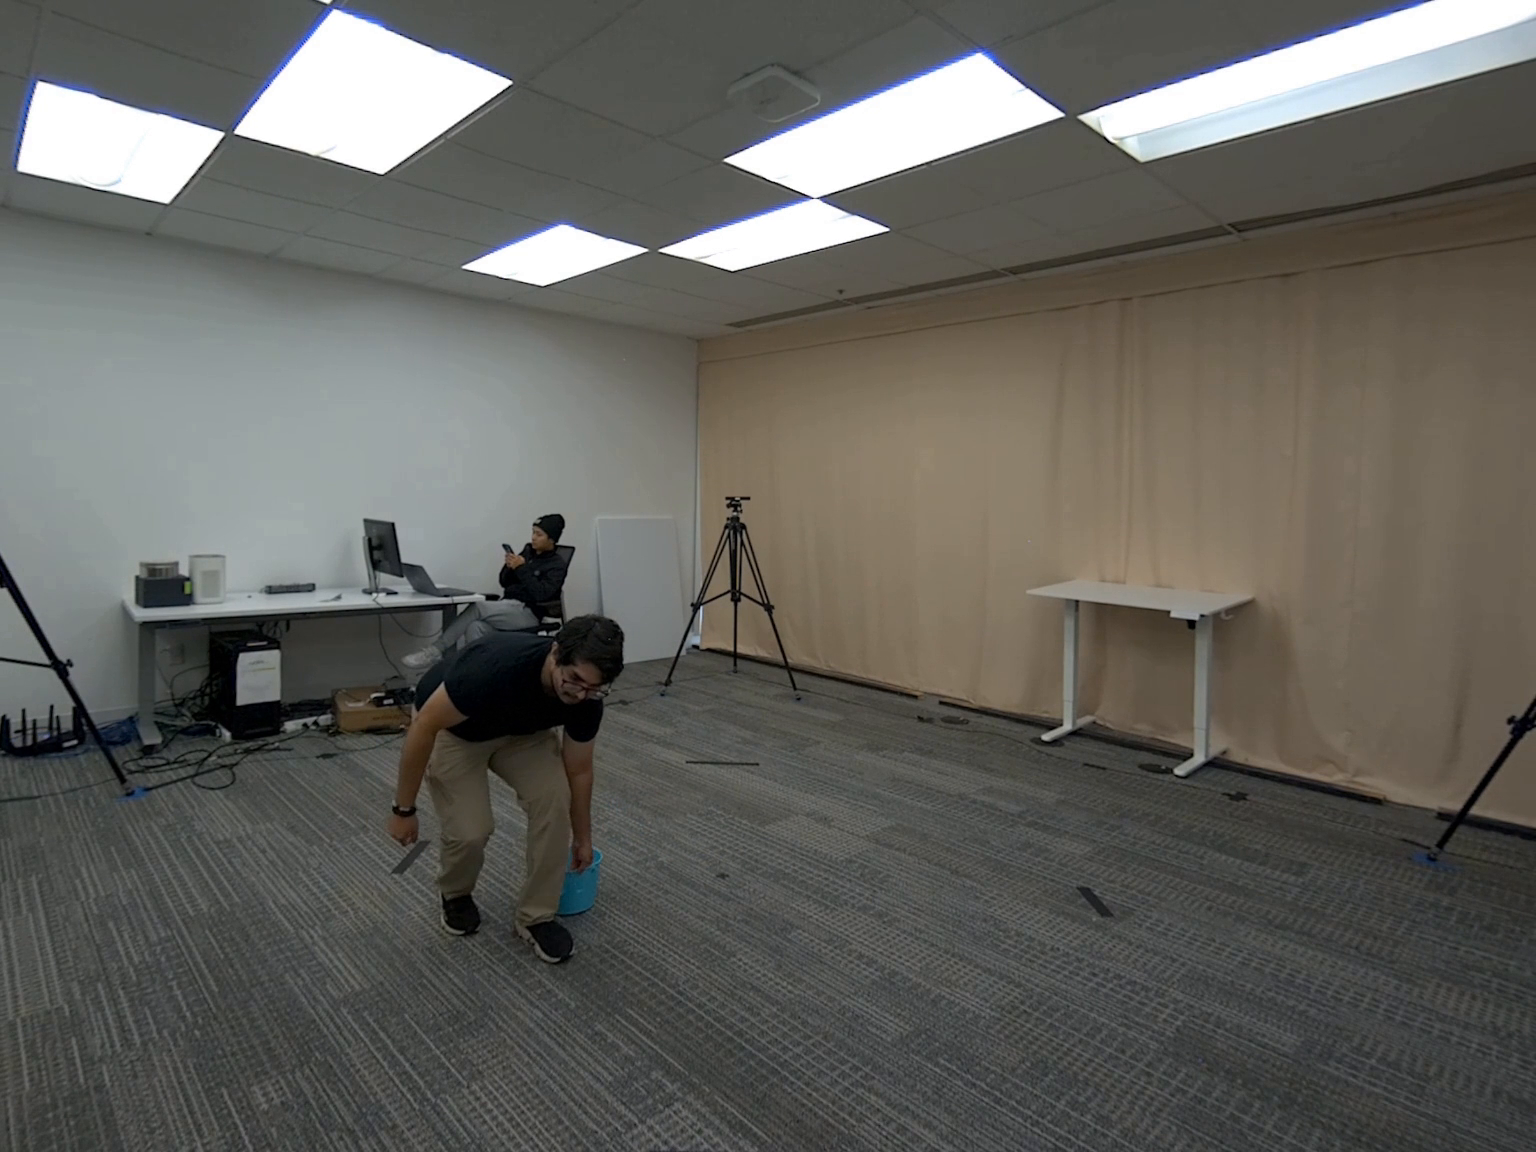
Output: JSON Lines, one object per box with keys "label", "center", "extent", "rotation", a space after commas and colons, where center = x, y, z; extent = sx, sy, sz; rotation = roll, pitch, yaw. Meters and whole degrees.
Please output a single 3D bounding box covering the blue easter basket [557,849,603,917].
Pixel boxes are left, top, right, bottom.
{"label": "blue easter basket", "center": [-0.681, 1.039, 2.863], "extent": [0.243, 0.155, 0.244], "rotation": [0, 5, -1]}
